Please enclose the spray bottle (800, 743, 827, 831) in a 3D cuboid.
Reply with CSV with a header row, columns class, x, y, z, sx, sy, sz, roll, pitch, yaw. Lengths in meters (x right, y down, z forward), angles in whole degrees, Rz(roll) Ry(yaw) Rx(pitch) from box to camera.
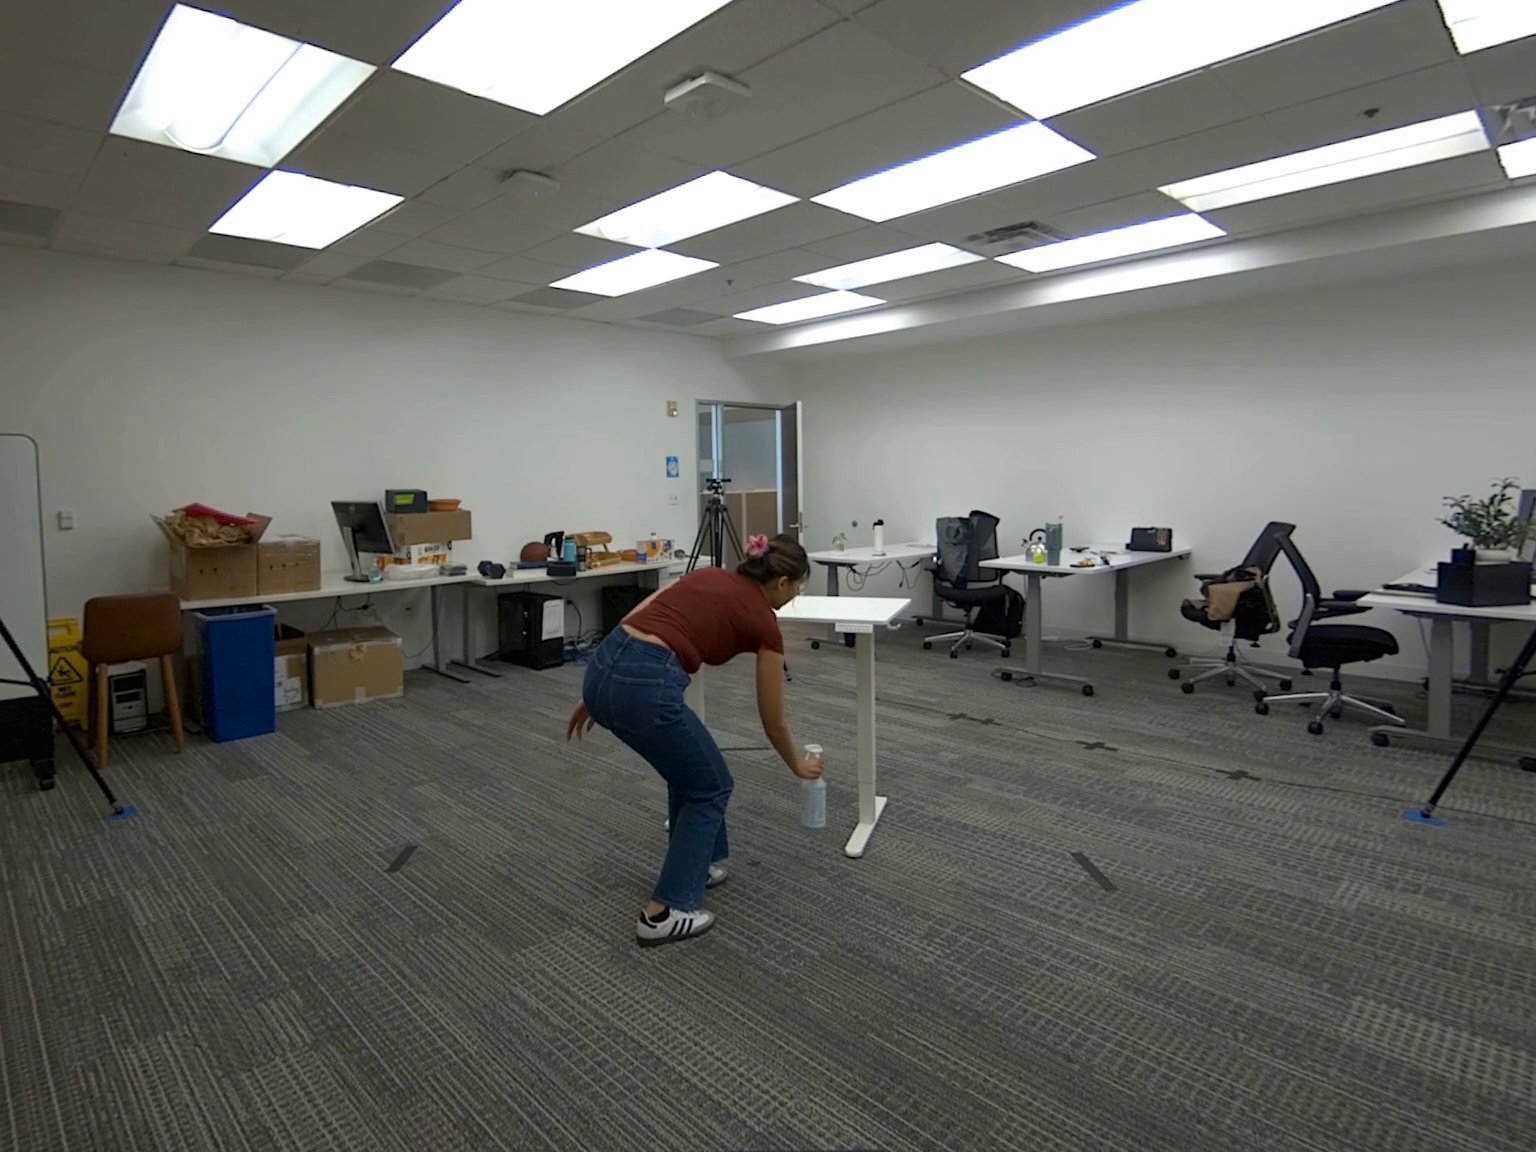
class,x,y,z,sx,sy,sz,roll,pitch,yaw
spray bottle,0.162,0.743,3.036,0.088,0.297,0.088,-1,0,-18
